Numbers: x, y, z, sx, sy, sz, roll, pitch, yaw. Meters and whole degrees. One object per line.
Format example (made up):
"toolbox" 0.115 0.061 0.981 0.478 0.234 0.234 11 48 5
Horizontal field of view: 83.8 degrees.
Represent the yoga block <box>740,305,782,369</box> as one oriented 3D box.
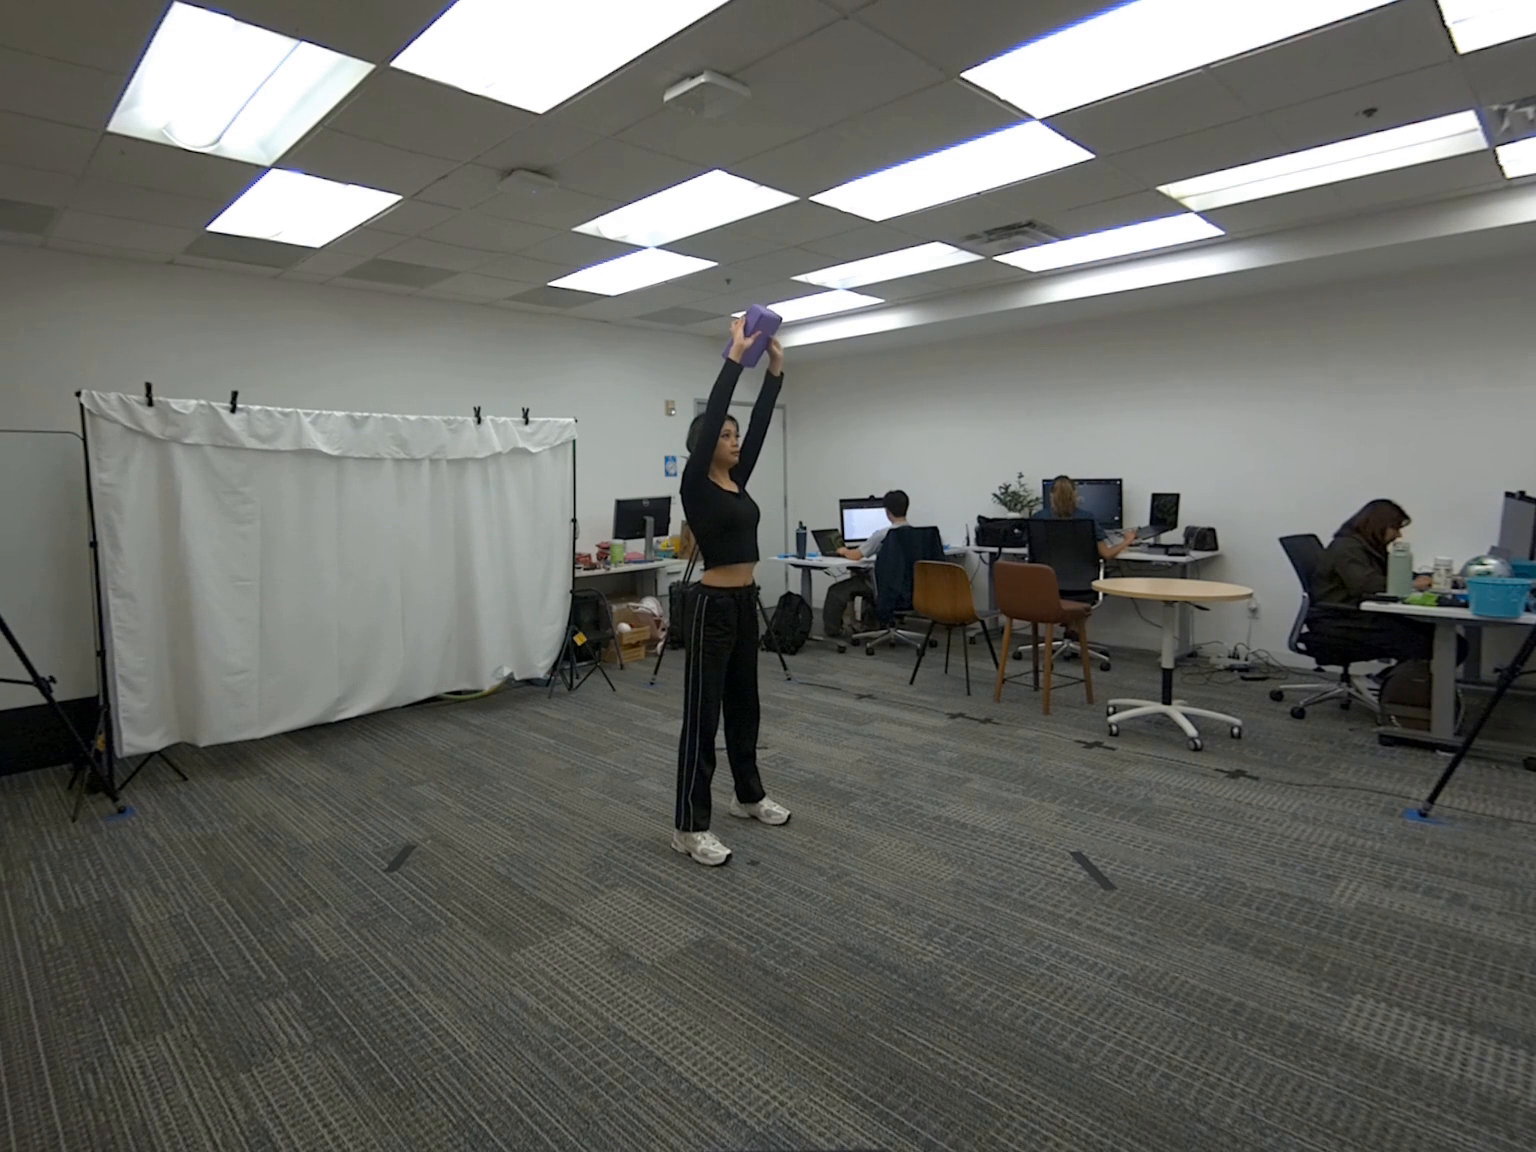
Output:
"yoga block" -0.051 -0.901 3.217 0.078 0.228 0.146 46 28 20
